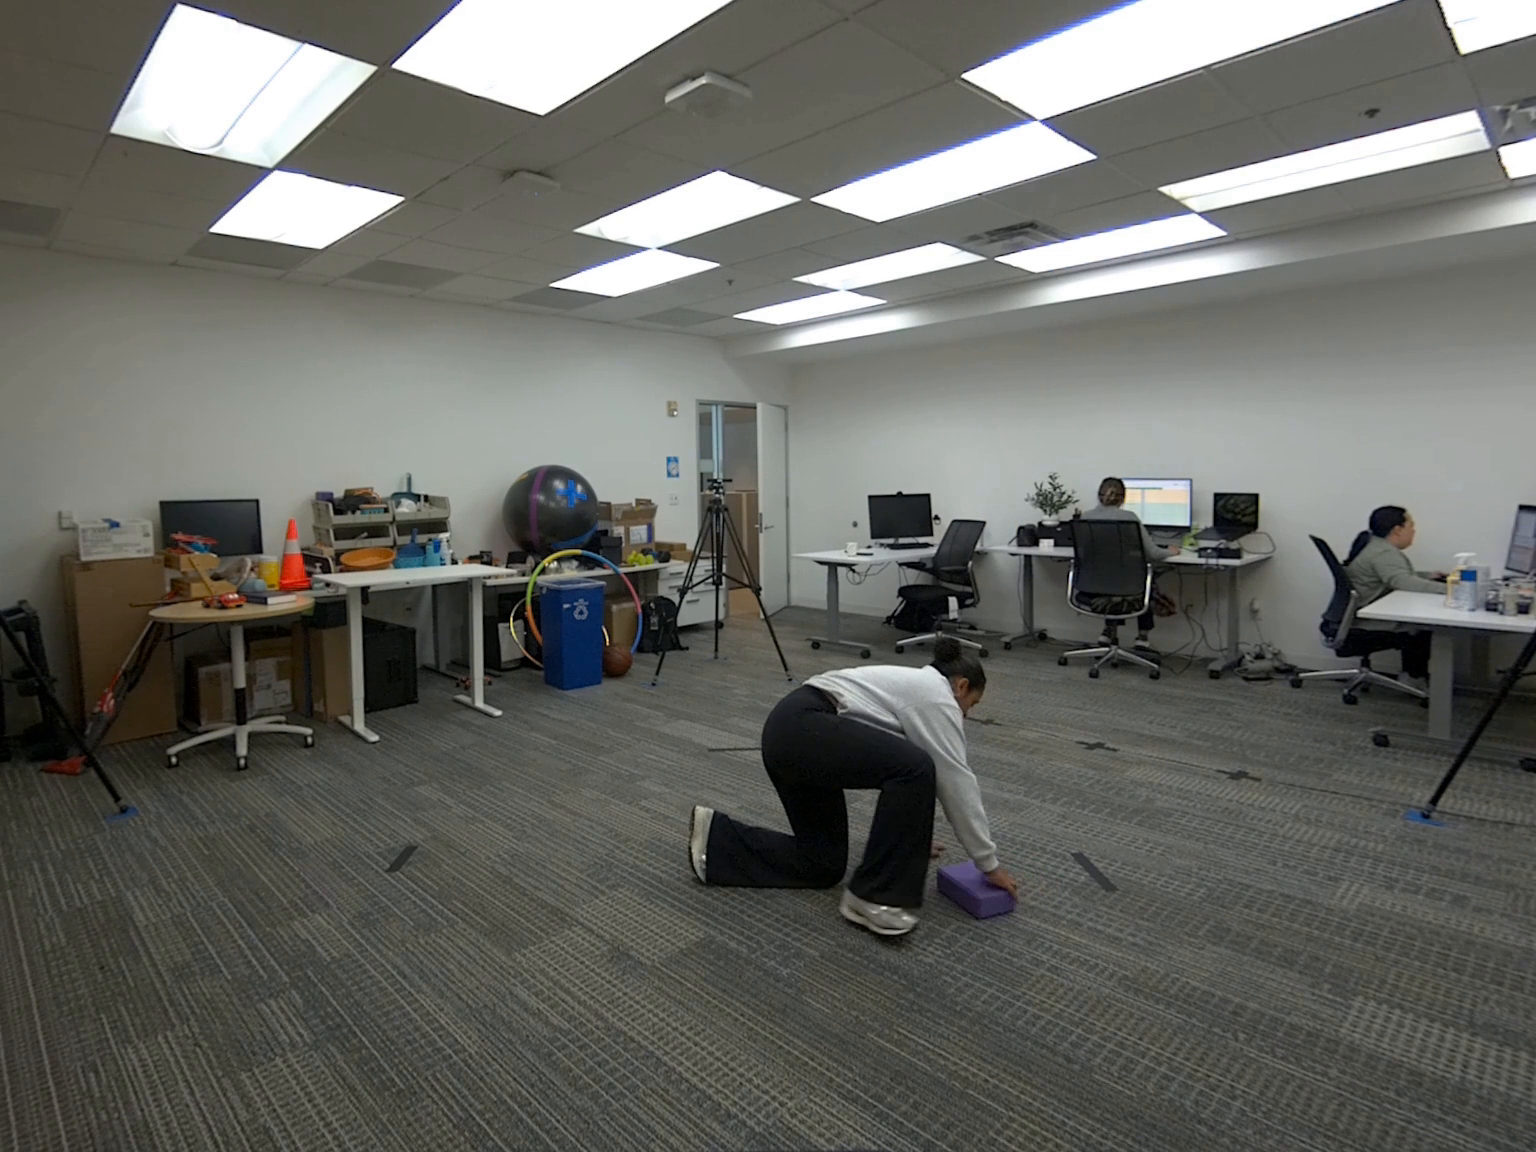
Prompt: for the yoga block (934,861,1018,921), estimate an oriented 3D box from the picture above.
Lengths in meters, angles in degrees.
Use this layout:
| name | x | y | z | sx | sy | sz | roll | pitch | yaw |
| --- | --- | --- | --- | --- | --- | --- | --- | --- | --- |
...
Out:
| name | x | y | z | sx | sy | sz | roll | pitch | yaw |
| --- | --- | --- | --- | --- | --- | --- | --- | --- | --- |
| yoga block | 0.687 | 1.031 | 2.795 | 0.147 | 0.076 | 0.234 | -1 | 5 | -18 |
